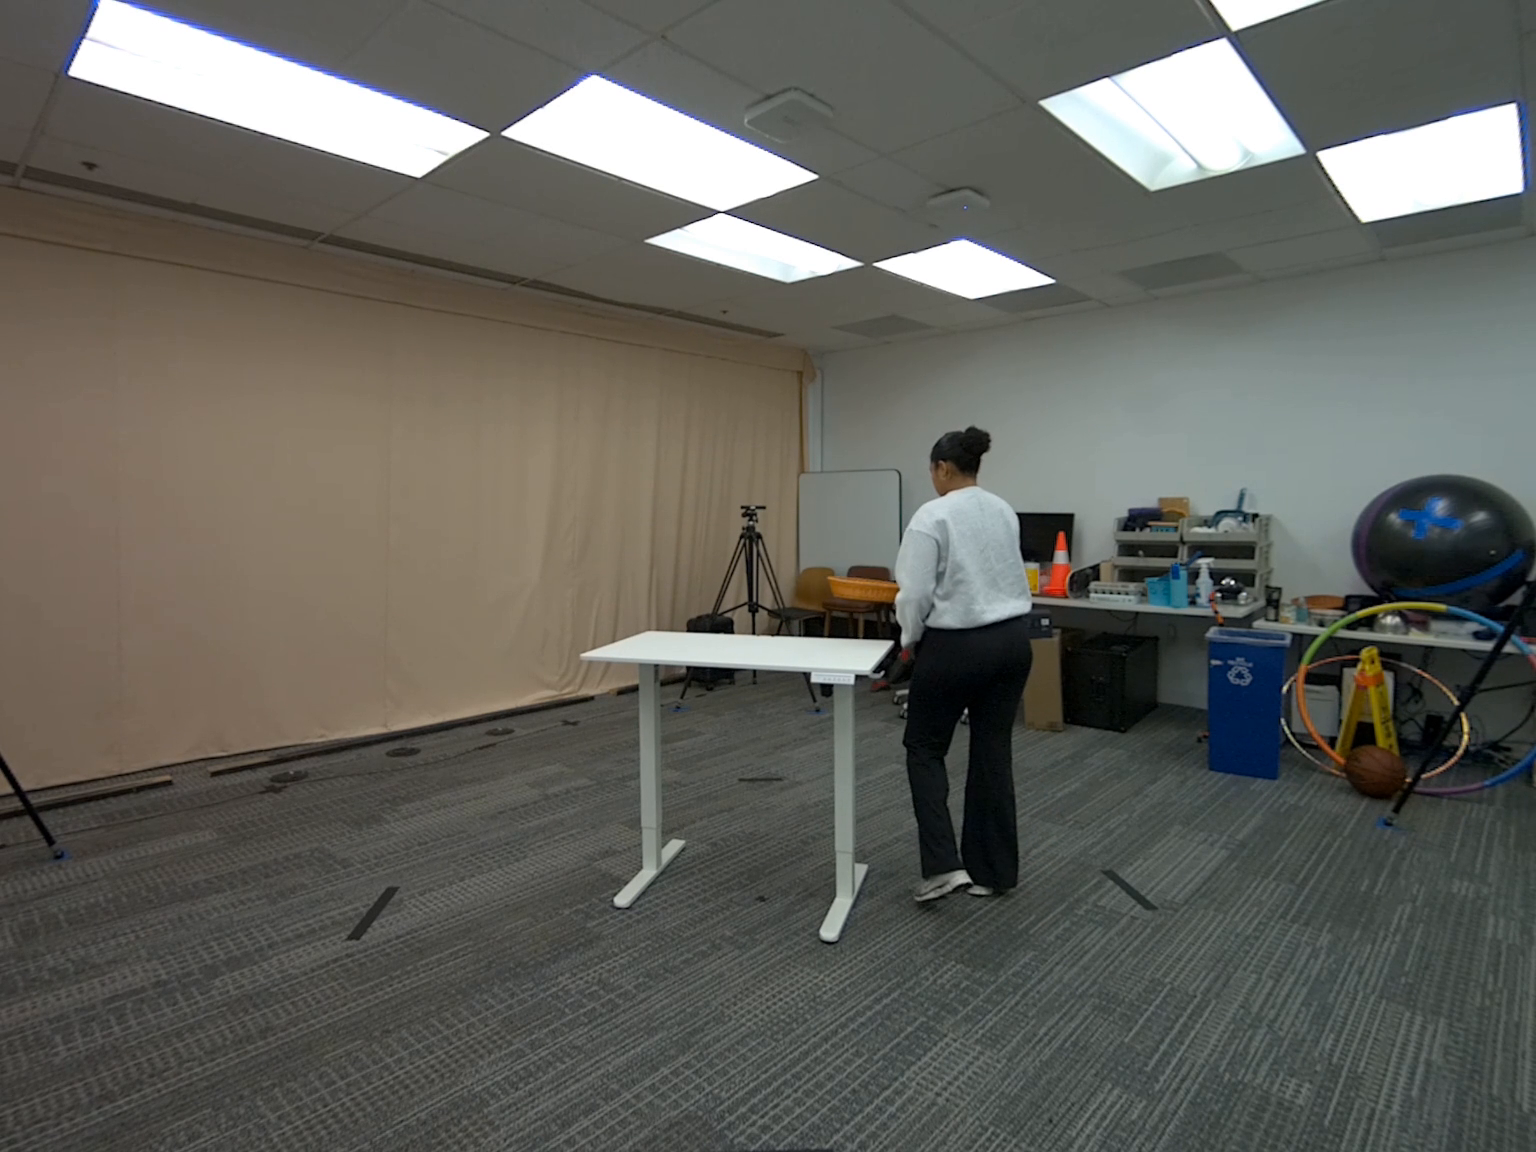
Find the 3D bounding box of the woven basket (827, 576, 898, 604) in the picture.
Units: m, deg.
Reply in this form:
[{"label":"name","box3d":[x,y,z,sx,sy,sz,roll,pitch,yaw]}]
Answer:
[{"label":"woven basket","box3d":[0.423,0.062,3.370,0.356,0.073,0.249,7,3,13]}]
